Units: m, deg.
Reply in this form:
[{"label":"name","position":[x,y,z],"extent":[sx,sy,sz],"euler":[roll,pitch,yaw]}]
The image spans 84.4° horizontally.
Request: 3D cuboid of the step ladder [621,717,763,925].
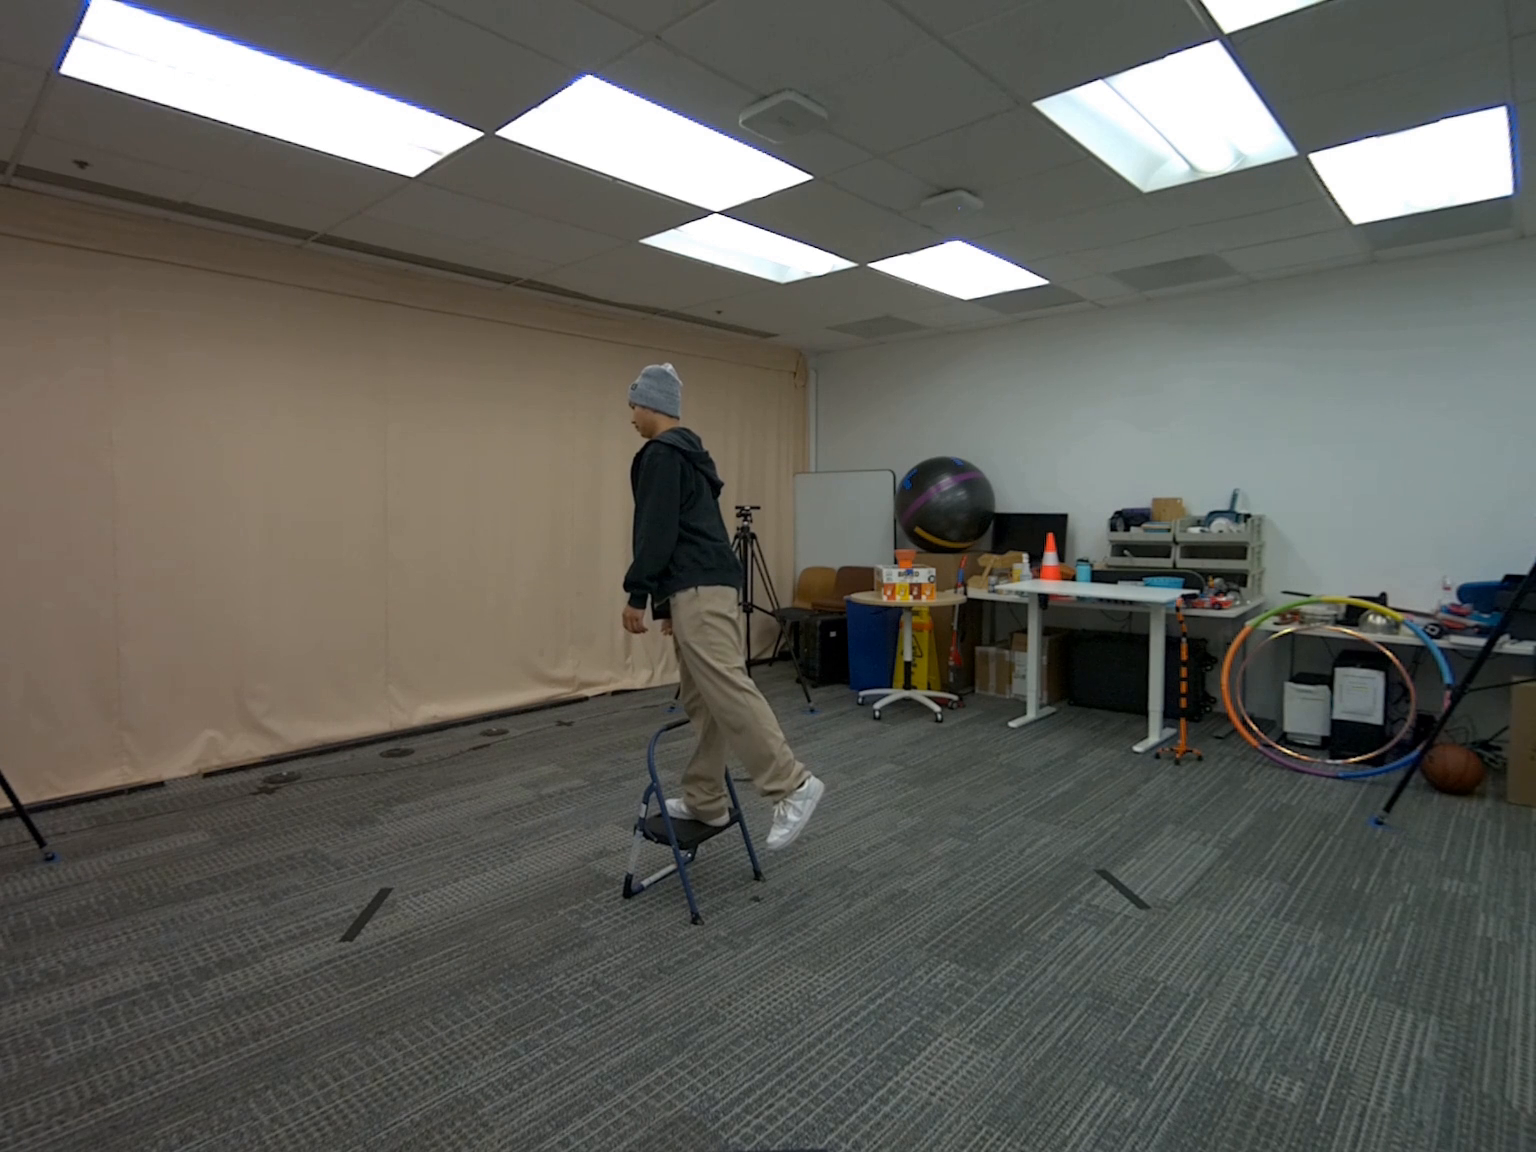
[{"label":"step ladder","position":[-0.269,0.838,3.053],"extent":[0.360,0.605,0.419],"euler":[1,4,32]}]
